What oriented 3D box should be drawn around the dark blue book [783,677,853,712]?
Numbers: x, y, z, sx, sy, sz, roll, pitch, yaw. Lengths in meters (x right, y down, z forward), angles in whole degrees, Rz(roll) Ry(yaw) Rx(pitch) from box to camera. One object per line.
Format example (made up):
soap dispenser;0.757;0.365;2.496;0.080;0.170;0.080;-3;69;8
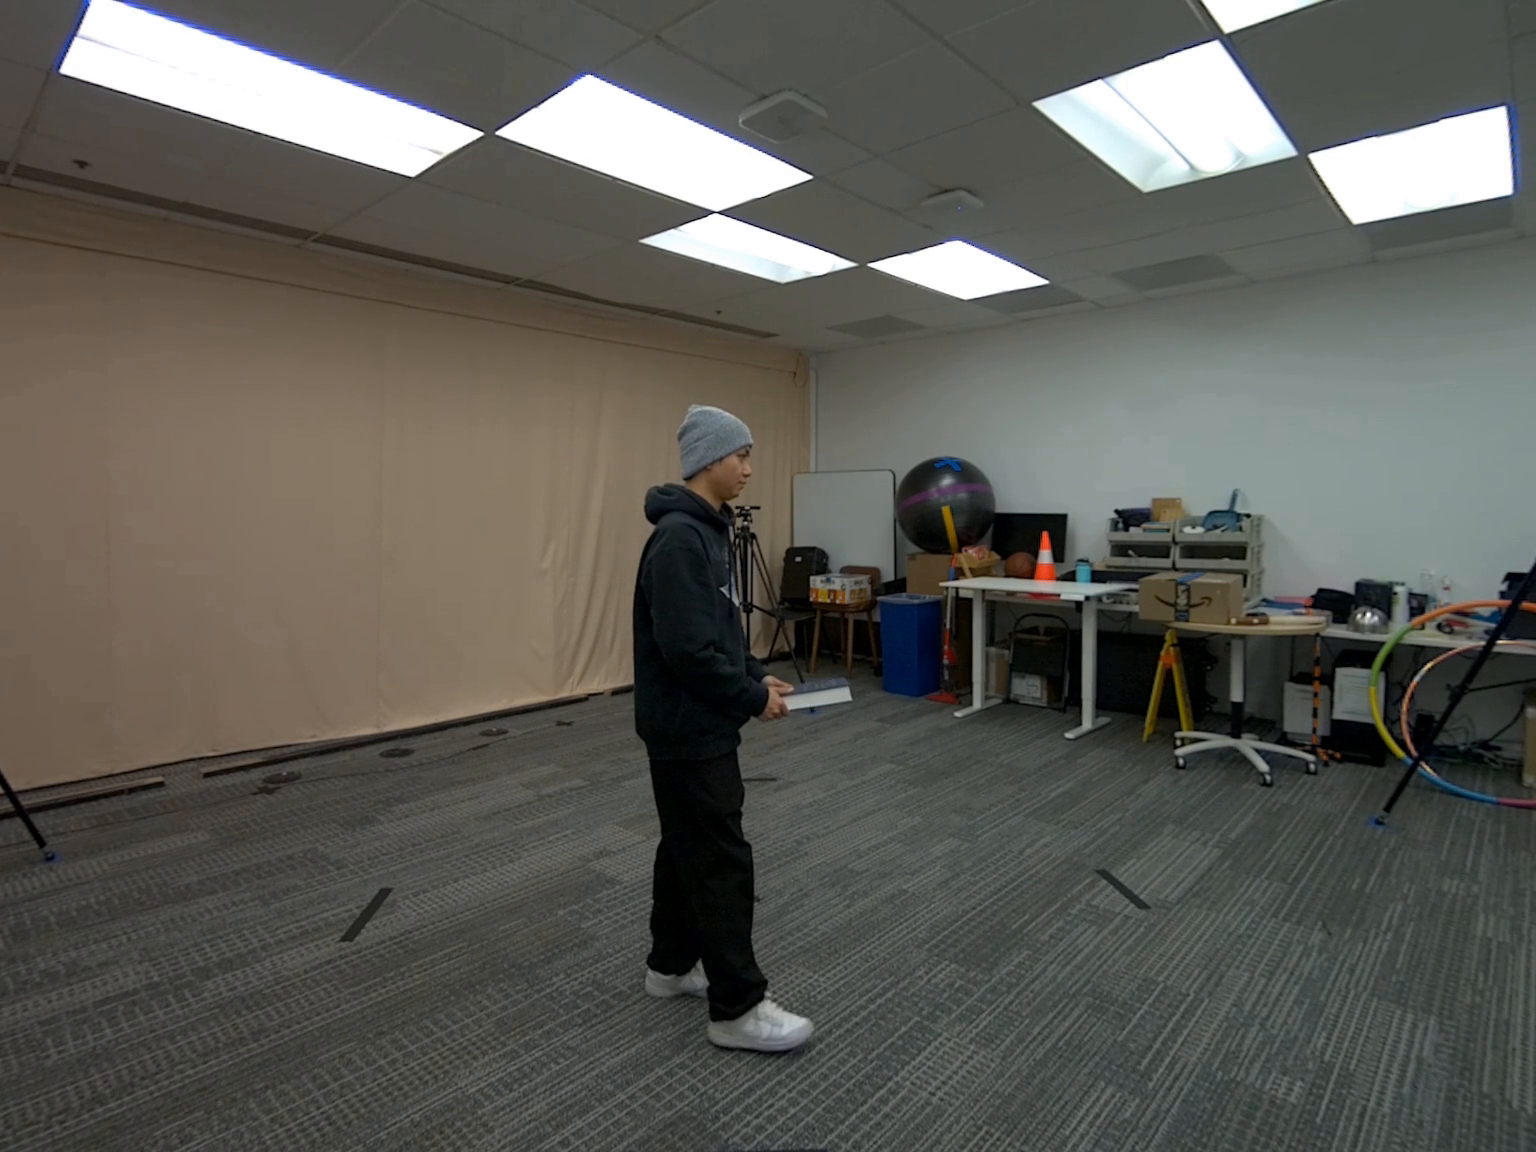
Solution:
dark blue book;0.101;0.319;2.269;0.247;0.045;0.162;-8;0;6
